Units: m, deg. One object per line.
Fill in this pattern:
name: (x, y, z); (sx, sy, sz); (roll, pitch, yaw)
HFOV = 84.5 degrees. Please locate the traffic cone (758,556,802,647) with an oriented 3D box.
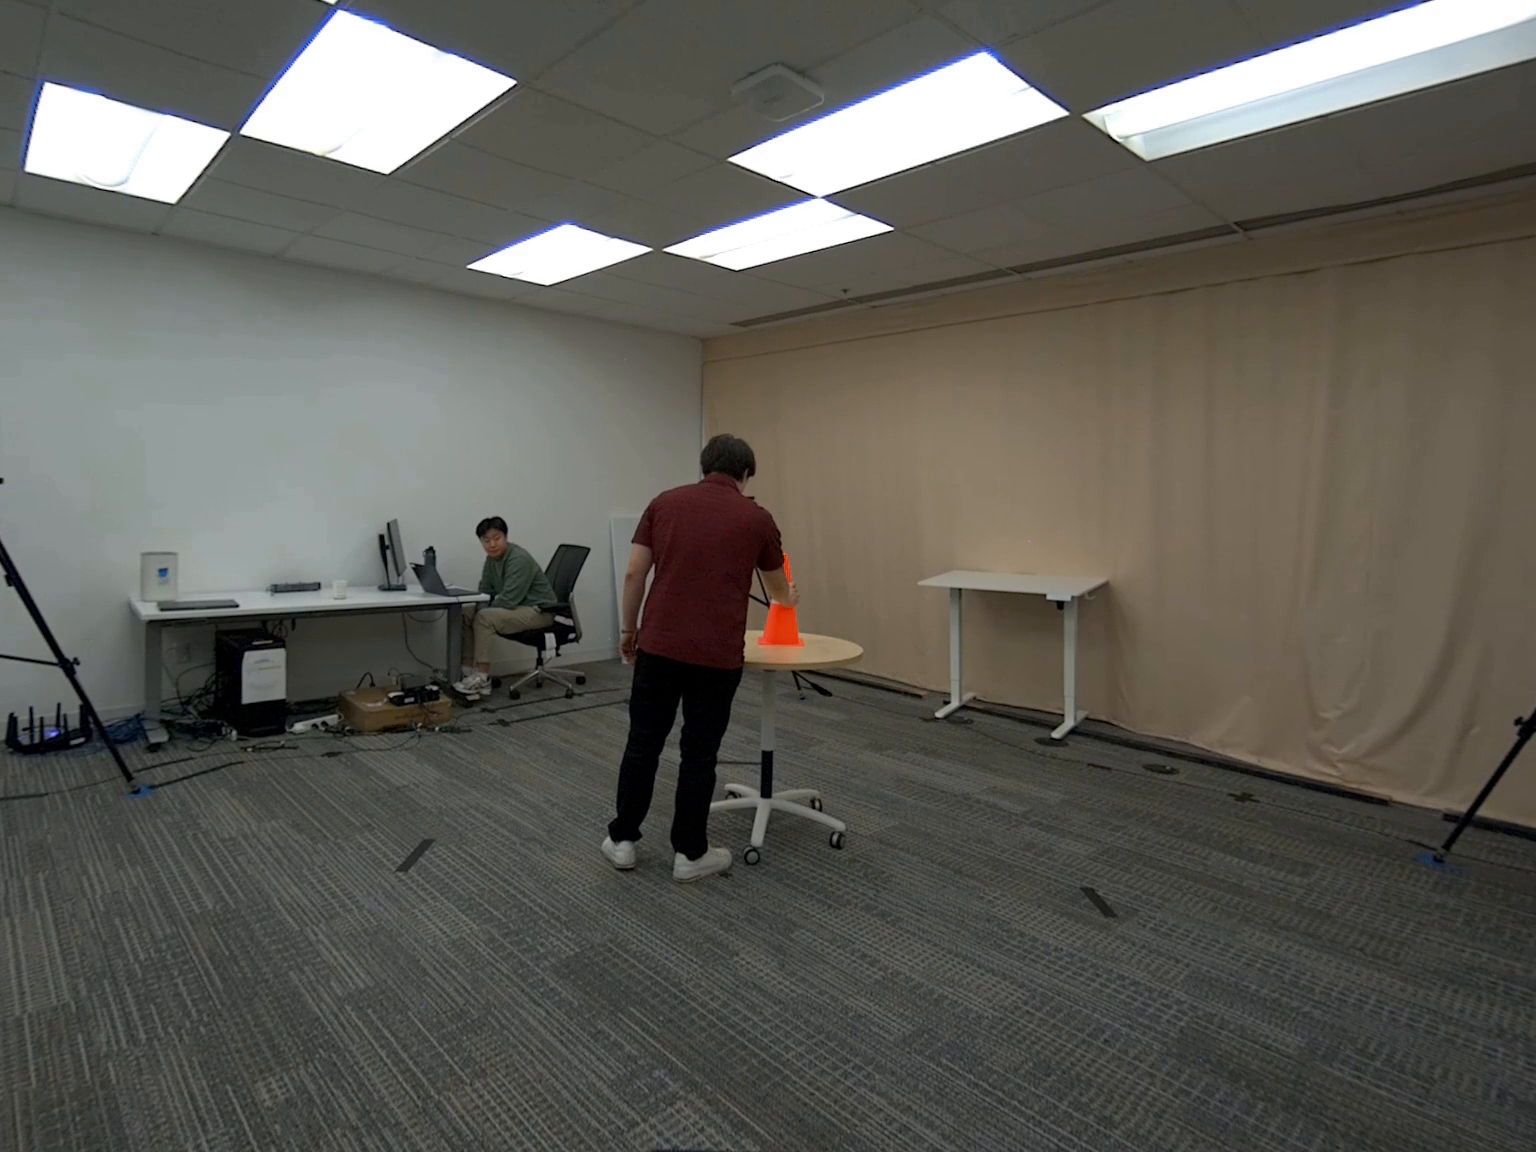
traffic cone: (0.055, 0.097, 3.598); (0.203, 0.382, 0.205); (2, 4, 0)
